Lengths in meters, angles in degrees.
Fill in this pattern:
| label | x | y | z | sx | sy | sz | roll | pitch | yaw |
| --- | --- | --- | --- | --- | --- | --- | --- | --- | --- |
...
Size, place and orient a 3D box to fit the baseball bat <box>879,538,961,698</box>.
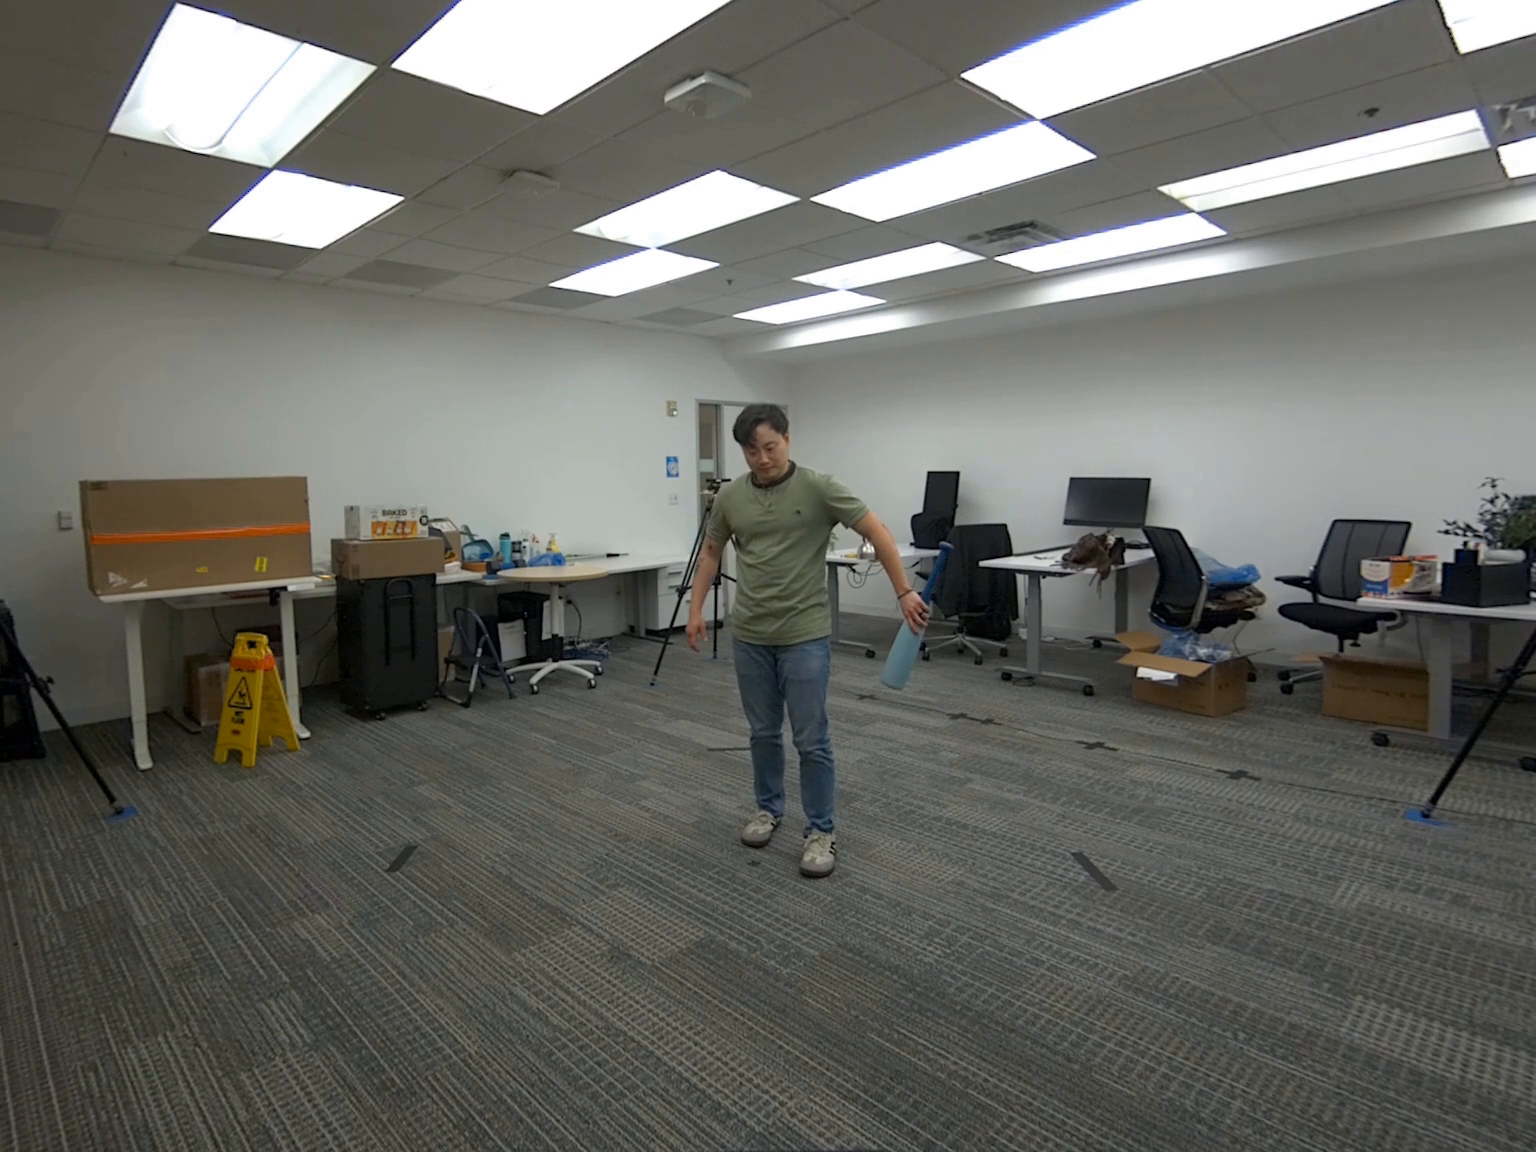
| label | x | y | z | sx | sy | sz | roll | pitch | yaw |
| --- | --- | --- | --- | --- | --- | --- | --- | --- | --- |
| baseball bat | 0.524 | 0.141 | 2.979 | 0.089 | 0.542 | 0.089 | 18 | 3 | -3 |
